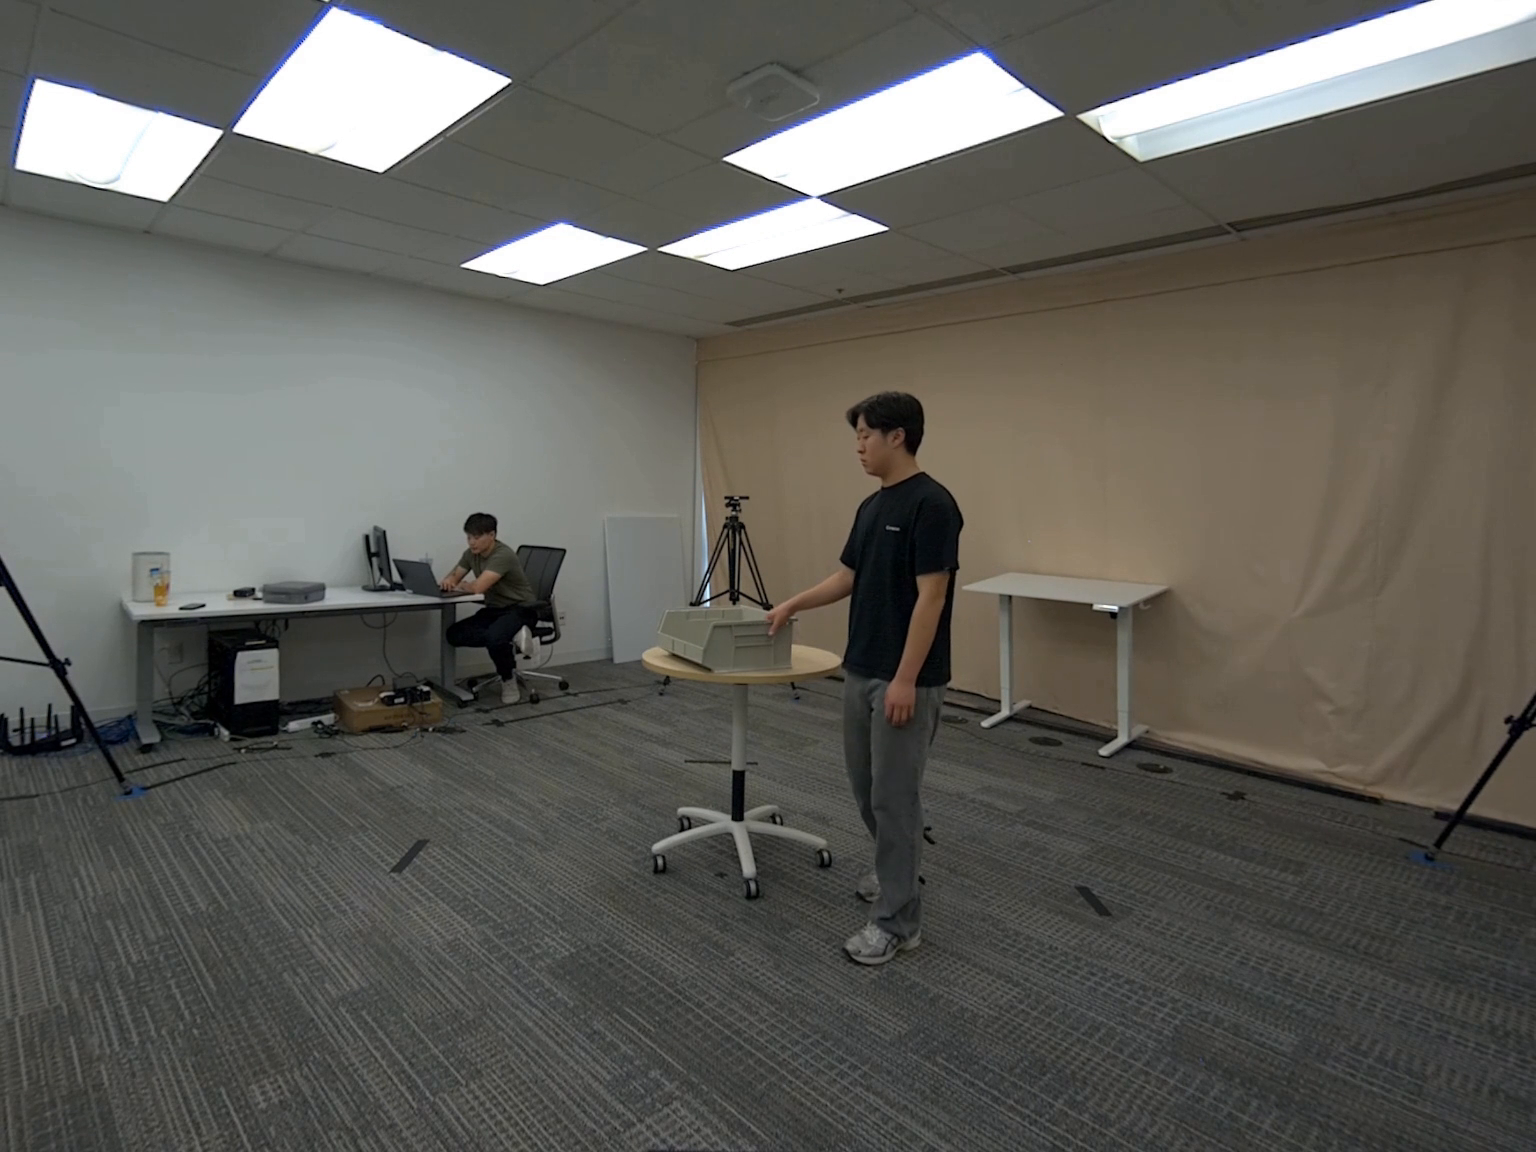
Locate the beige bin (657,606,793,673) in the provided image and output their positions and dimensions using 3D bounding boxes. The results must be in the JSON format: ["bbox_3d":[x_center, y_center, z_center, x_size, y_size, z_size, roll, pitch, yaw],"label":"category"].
[{"bbox_3d":[-0.172,0.229,3.124,0.370,0.189,0.431,1,4,-28],"label":"beige bin"}]
